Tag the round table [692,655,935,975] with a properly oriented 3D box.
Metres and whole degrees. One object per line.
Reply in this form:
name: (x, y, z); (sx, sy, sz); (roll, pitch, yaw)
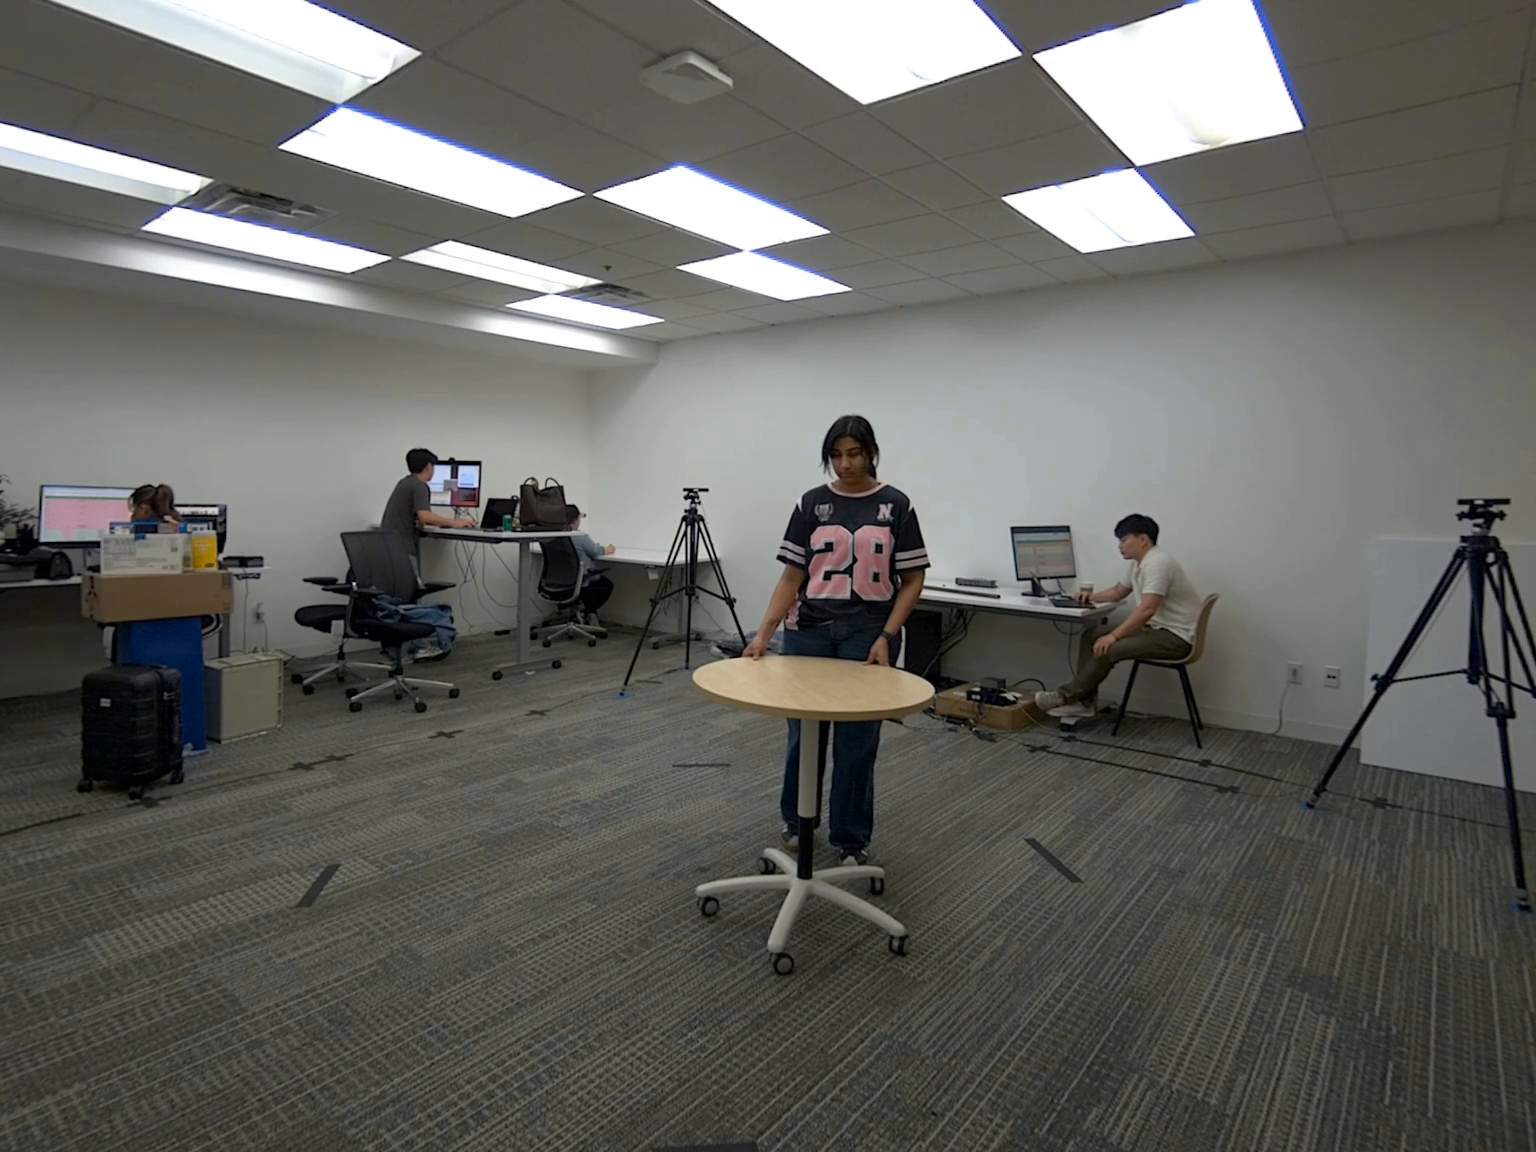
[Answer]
round table: (0.112, 0.723, 2.742); (0.763, 0.792, 0.767); (2, 4, -2)
